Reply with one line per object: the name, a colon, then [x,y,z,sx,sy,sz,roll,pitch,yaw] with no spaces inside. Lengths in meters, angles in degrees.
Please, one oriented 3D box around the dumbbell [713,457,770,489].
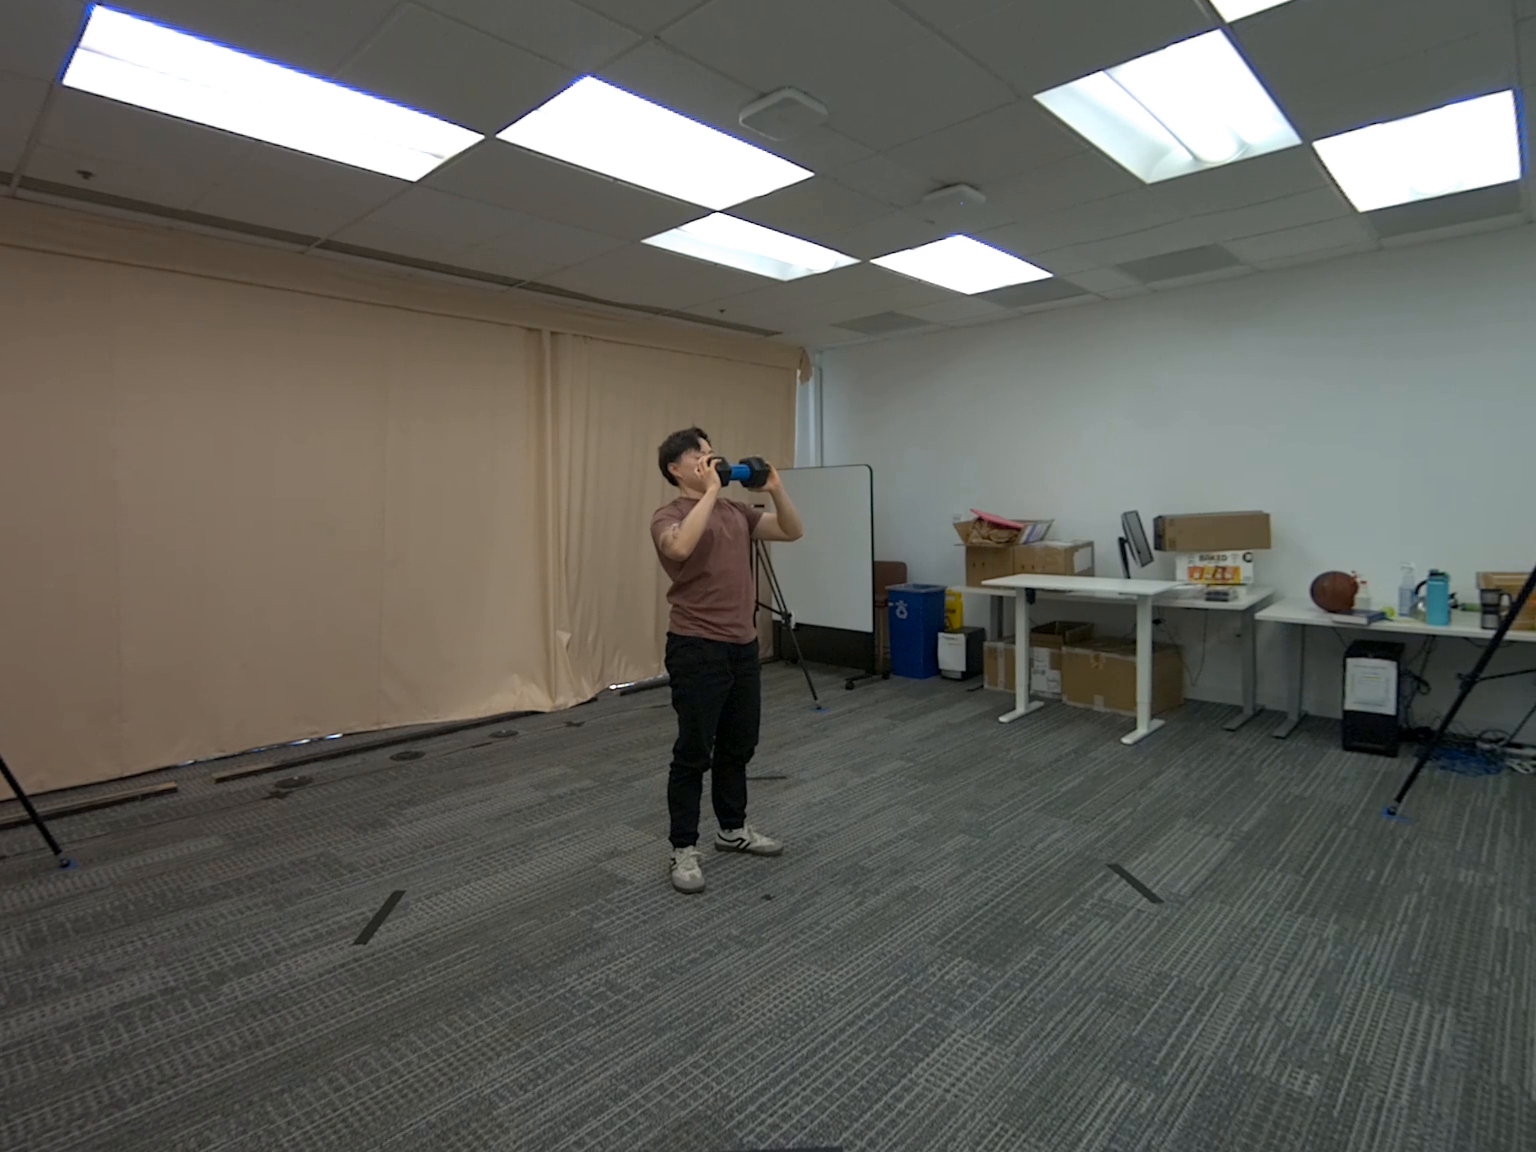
dumbbell: [-0.119,-0.385,3.097,0.285,0.125,0.109,-9,-29,-48]
